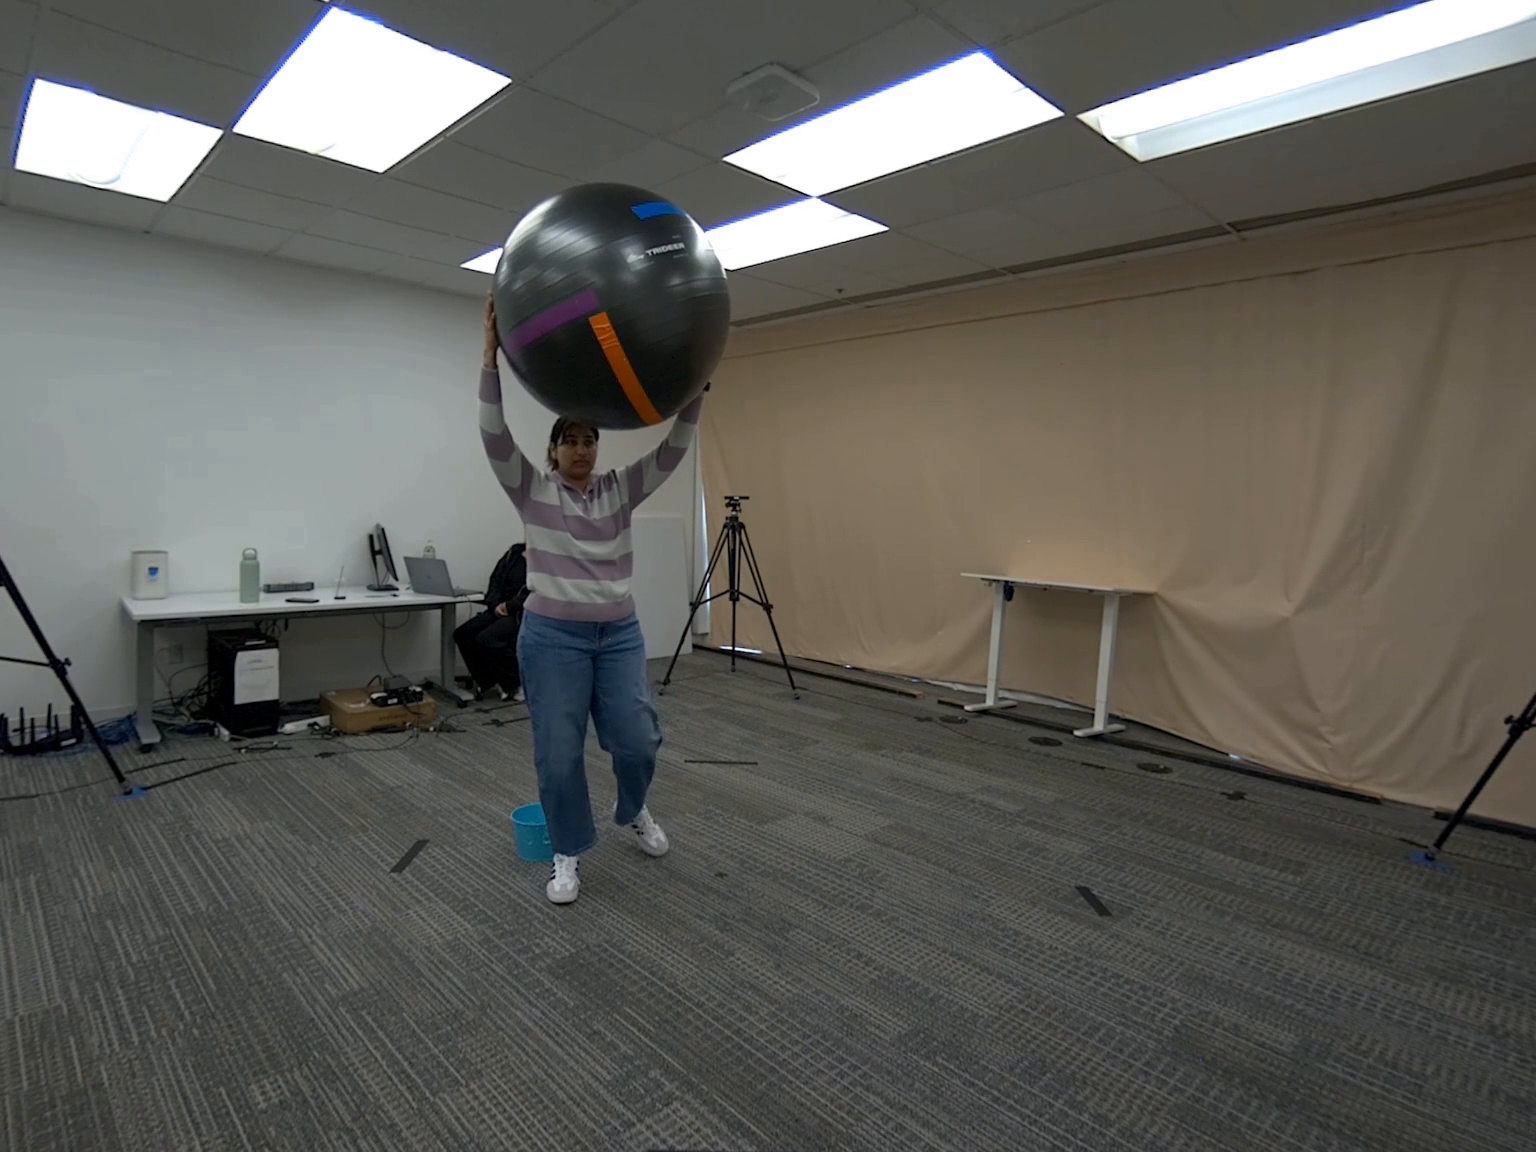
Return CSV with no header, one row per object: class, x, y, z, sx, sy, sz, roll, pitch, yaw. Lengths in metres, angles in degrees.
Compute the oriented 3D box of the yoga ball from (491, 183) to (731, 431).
yoga ball,-0.496,-0.845,2.691,0.757,0.756,0.761,1,4,-1
